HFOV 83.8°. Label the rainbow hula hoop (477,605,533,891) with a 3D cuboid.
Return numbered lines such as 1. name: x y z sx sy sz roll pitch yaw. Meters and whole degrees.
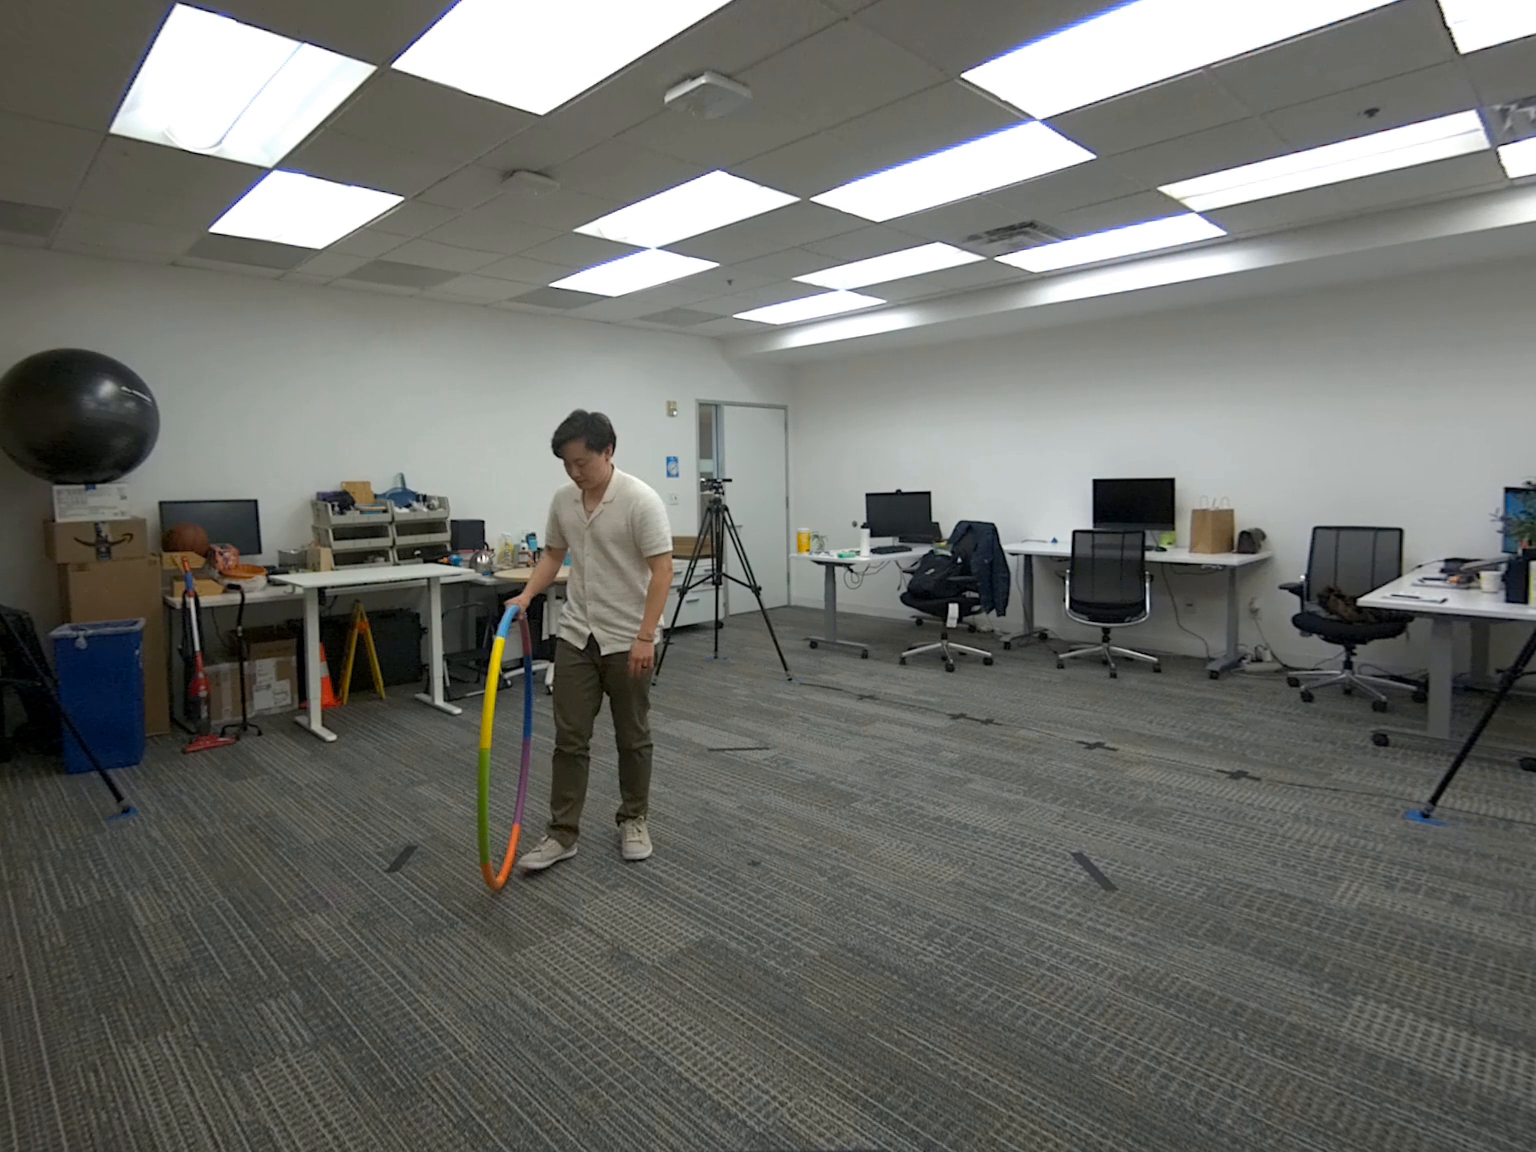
1. rainbow hula hoop: -0.910 0.585 3.032 0.035 0.976 0.988 3 4 -8
